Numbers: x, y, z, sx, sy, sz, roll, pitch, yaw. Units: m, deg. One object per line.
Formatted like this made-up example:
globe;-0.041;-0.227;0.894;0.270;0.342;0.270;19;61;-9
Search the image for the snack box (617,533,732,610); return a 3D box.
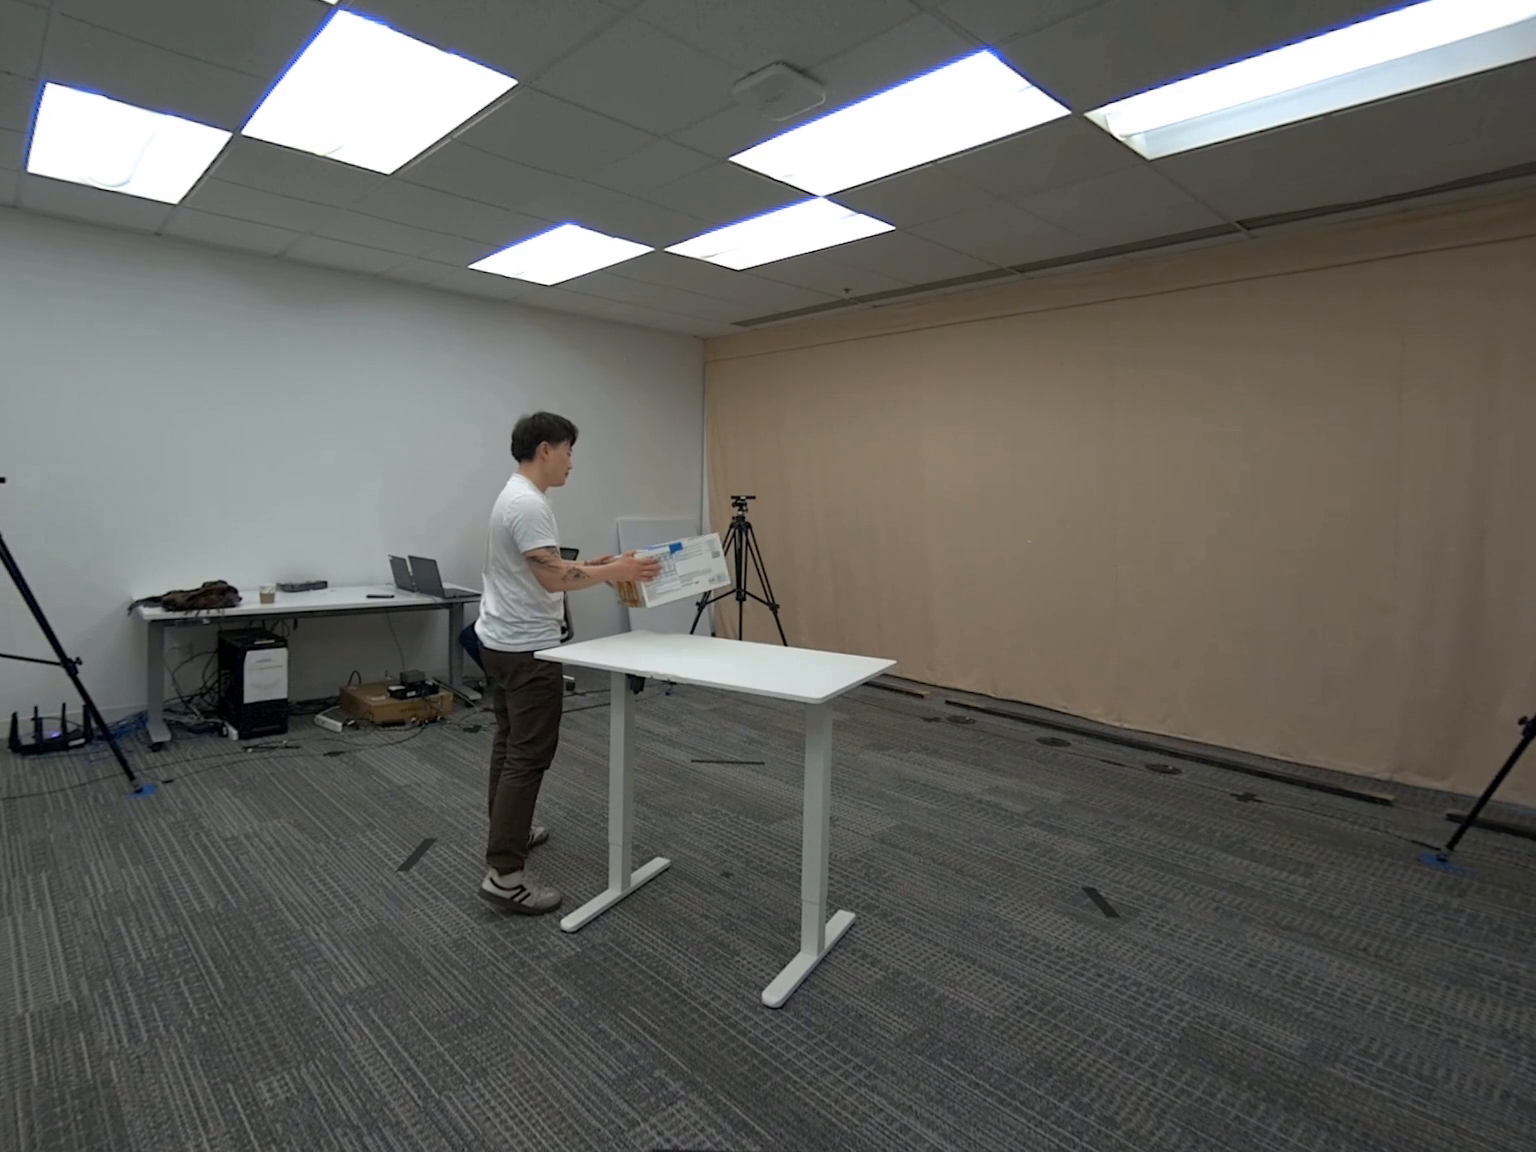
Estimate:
snack box;-0.404;-0.007;3.255;0.336;0.205;0.411;-16;4;-23
